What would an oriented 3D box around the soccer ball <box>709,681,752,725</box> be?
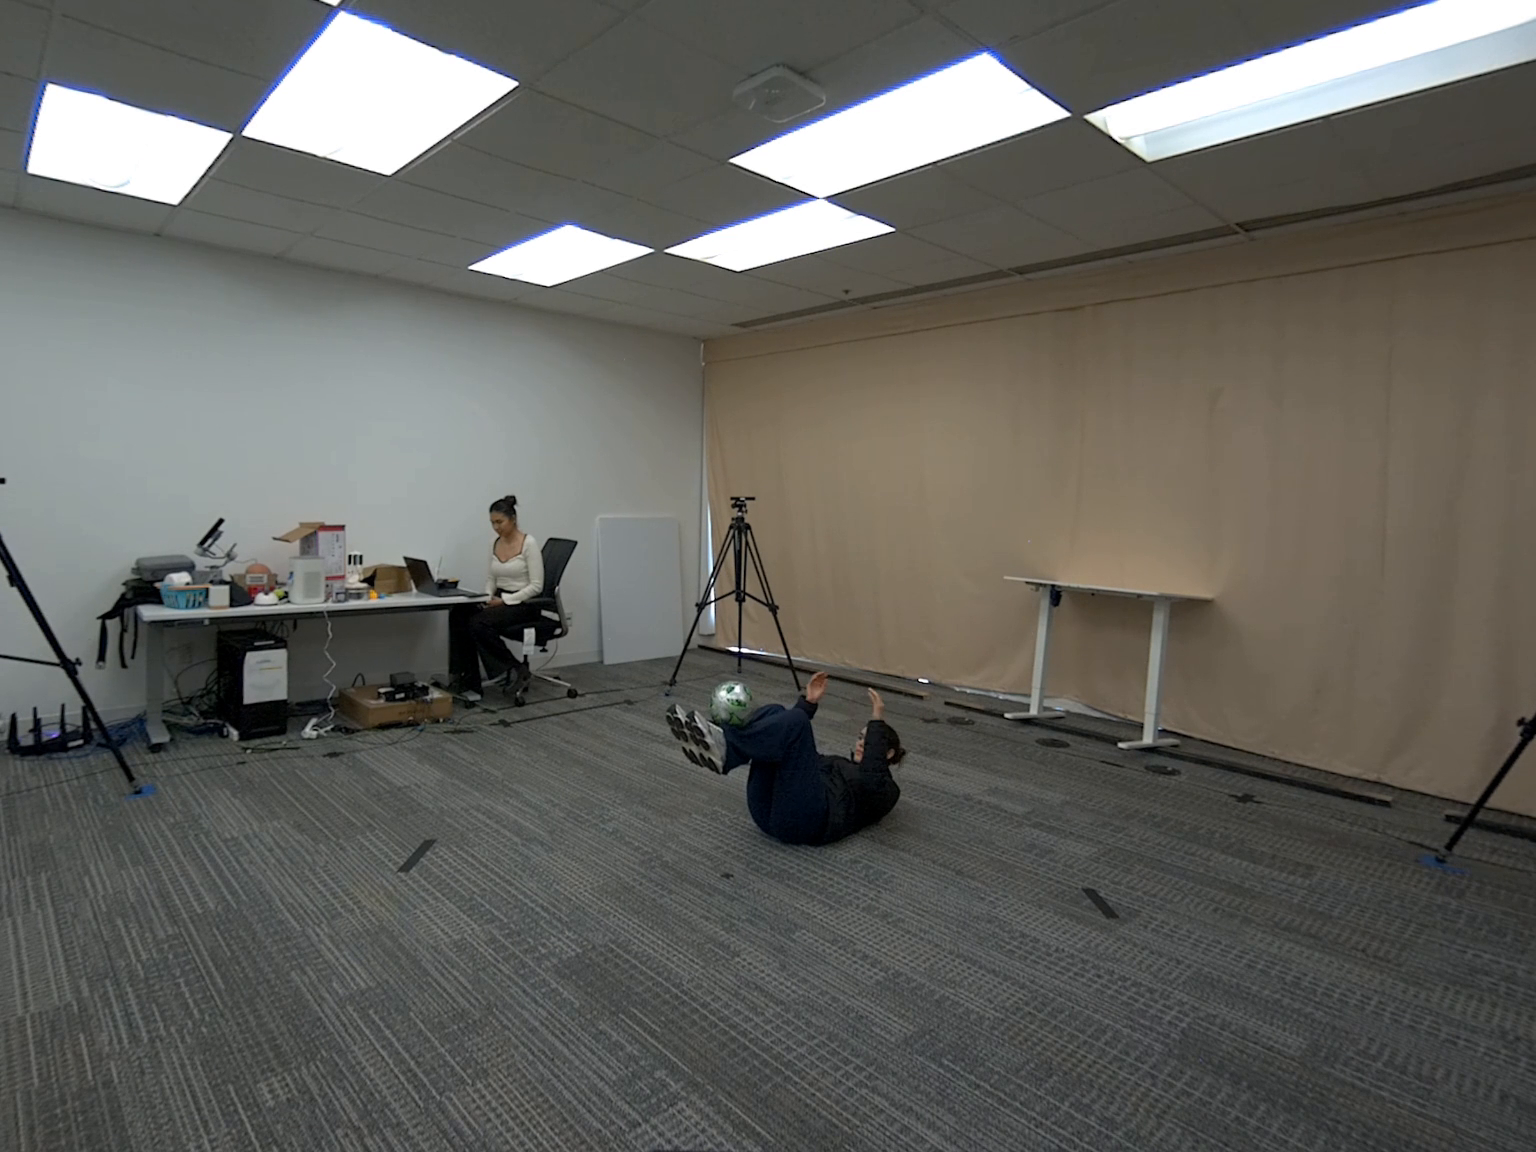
[{"bbox_3d":[-0.149,0.506,3.282,0.187,0.186,0.188,0,7,-1],"label":"soccer ball"}]
